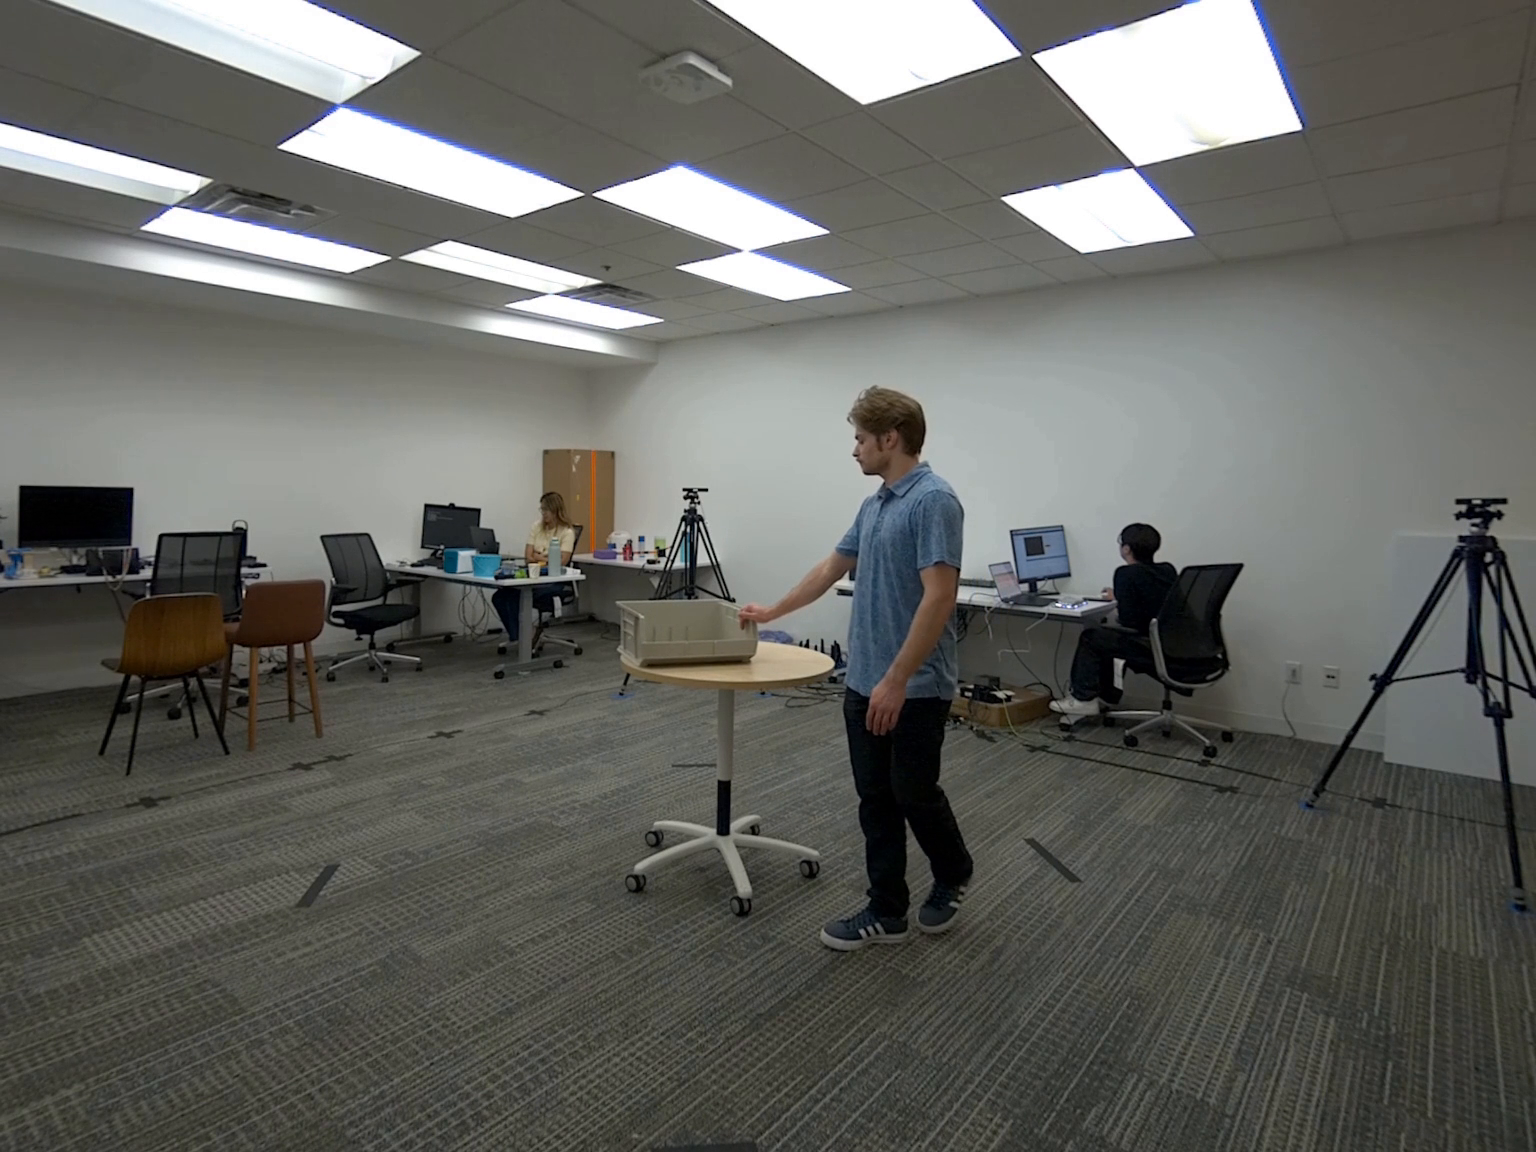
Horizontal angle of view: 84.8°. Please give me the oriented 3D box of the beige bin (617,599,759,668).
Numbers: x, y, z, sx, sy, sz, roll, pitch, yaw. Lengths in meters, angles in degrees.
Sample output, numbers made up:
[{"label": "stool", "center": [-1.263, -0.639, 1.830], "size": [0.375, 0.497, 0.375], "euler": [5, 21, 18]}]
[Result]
[{"label": "beige bin", "center": [-0.311, 0.199, 3.051], "size": [0.414, 0.188, 0.386], "euler": [-1, 5, -22]}]
